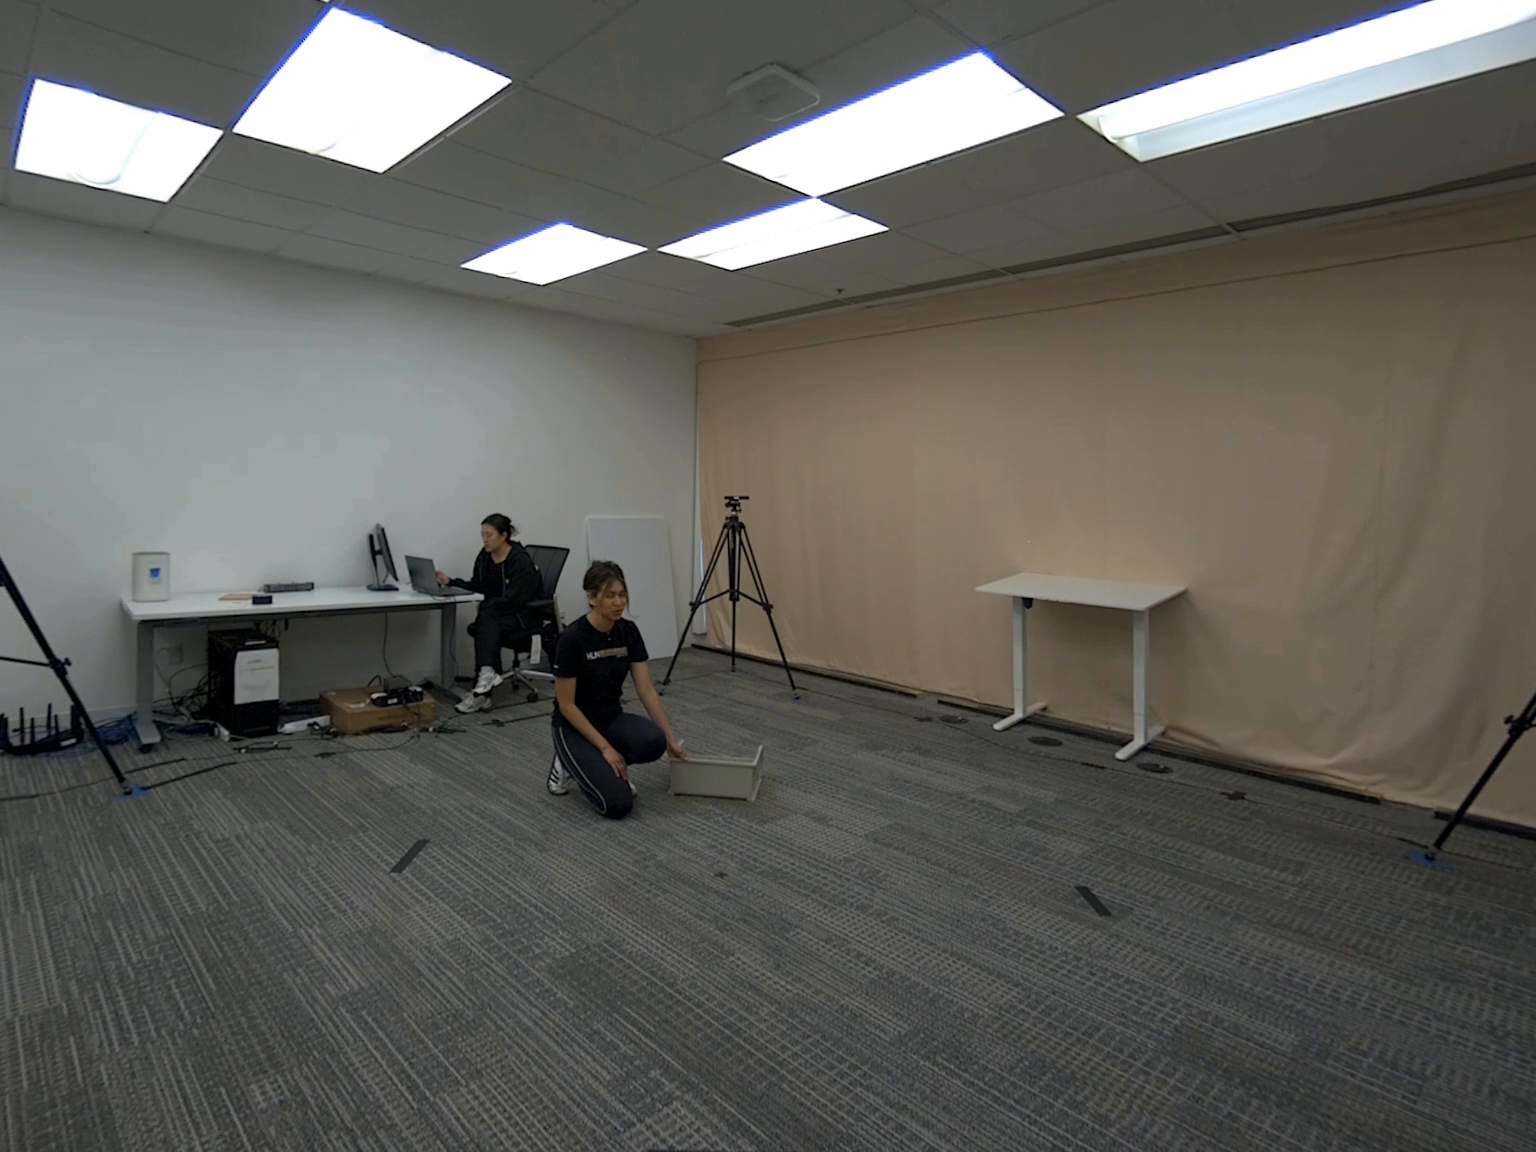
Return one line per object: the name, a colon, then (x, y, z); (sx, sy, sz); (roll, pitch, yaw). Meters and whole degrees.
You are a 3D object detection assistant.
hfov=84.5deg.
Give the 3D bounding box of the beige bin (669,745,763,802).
beige bin: (-0.260, 0.930, 4.090); (0.425, 0.188, 0.376); (2, 6, 6)
